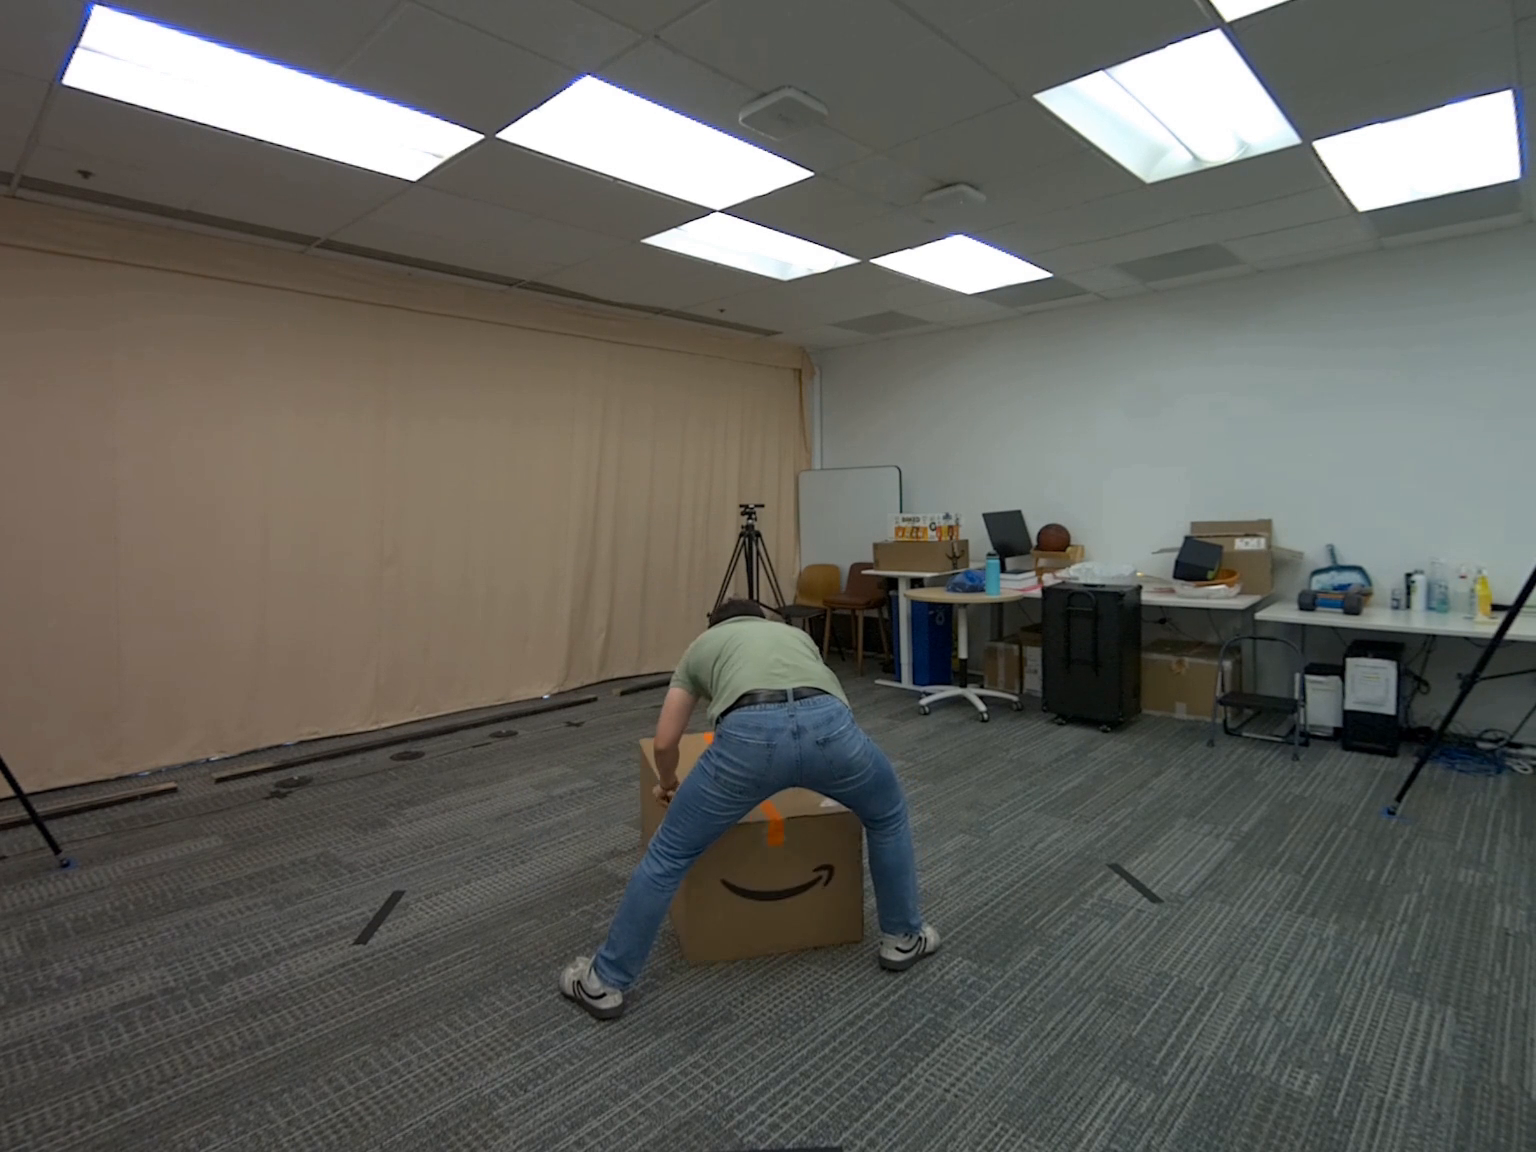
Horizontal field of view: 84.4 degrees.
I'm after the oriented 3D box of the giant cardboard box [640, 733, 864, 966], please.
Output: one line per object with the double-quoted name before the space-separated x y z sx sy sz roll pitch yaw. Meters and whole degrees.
"giant cardboard box" -0.118 0.917 3.085 0.569 0.425 1.044 -2 5 -16
